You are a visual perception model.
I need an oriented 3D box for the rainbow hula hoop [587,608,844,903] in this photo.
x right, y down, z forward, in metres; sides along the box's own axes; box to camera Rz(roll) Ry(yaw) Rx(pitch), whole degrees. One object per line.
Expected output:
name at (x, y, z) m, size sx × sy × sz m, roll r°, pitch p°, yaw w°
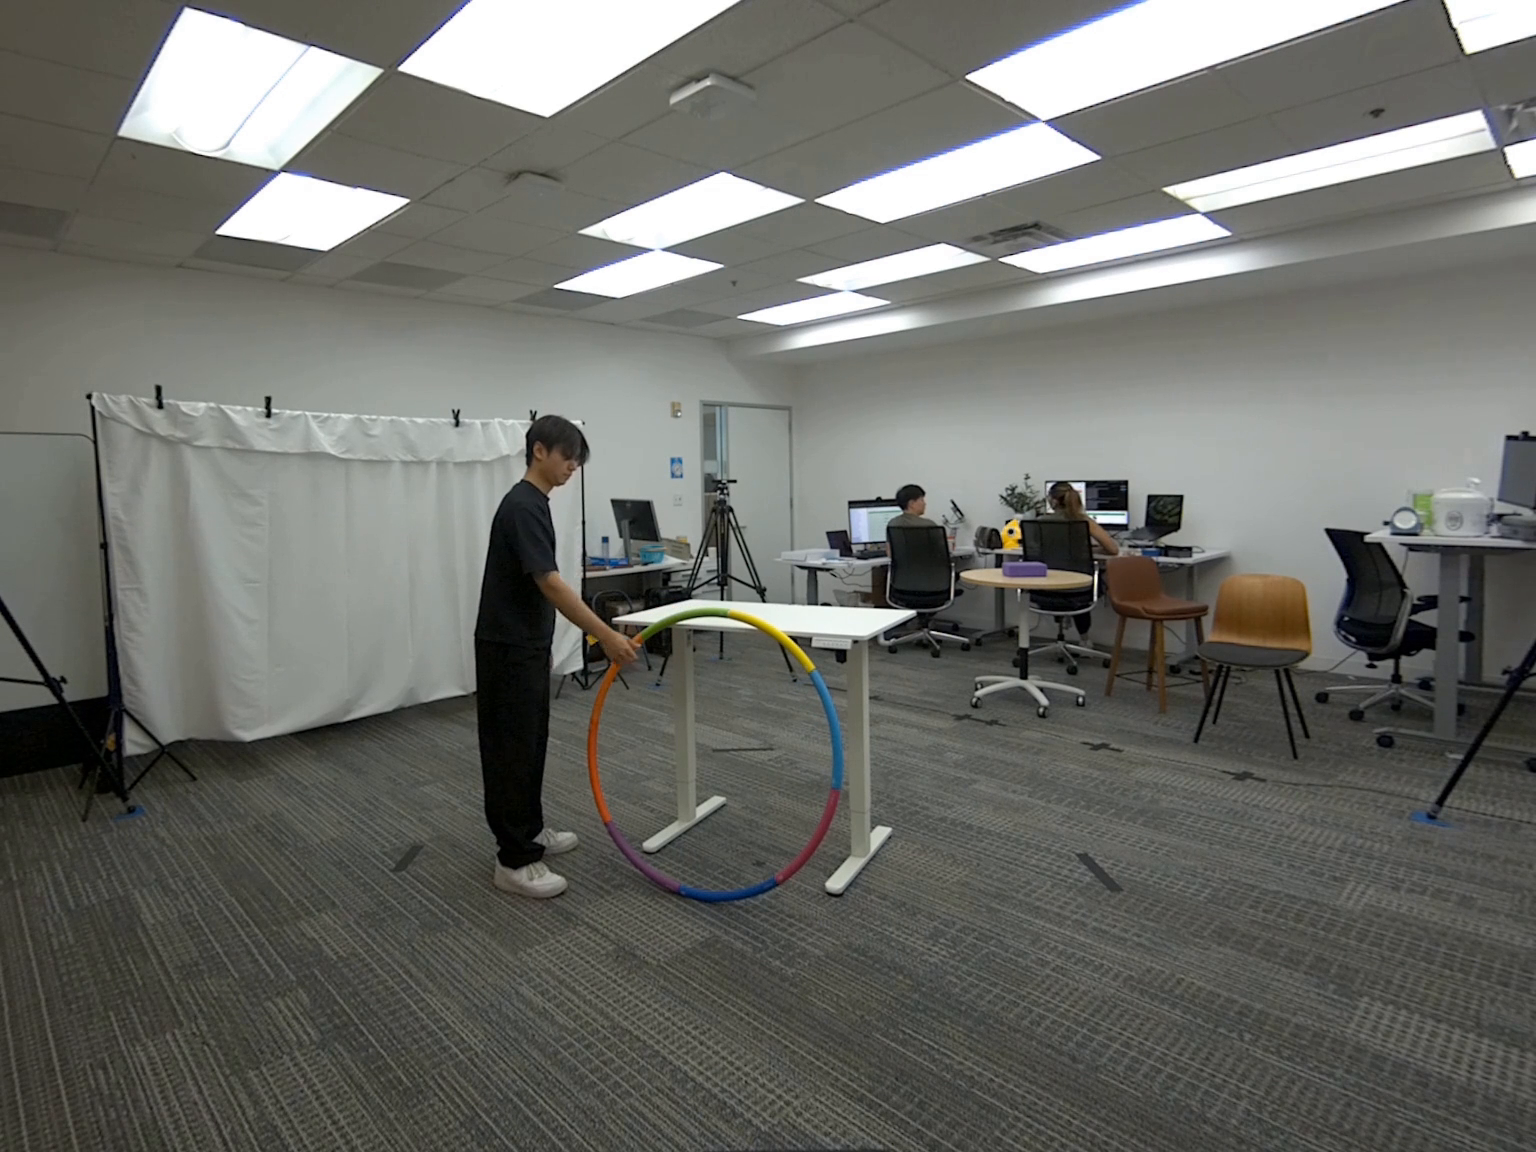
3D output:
rainbow hula hoop at (-0.210, 0.602, 2.922) m, size 1.003 × 0.984 × 0.034 m, roll 1°, pitch -8°, yaw 28°
